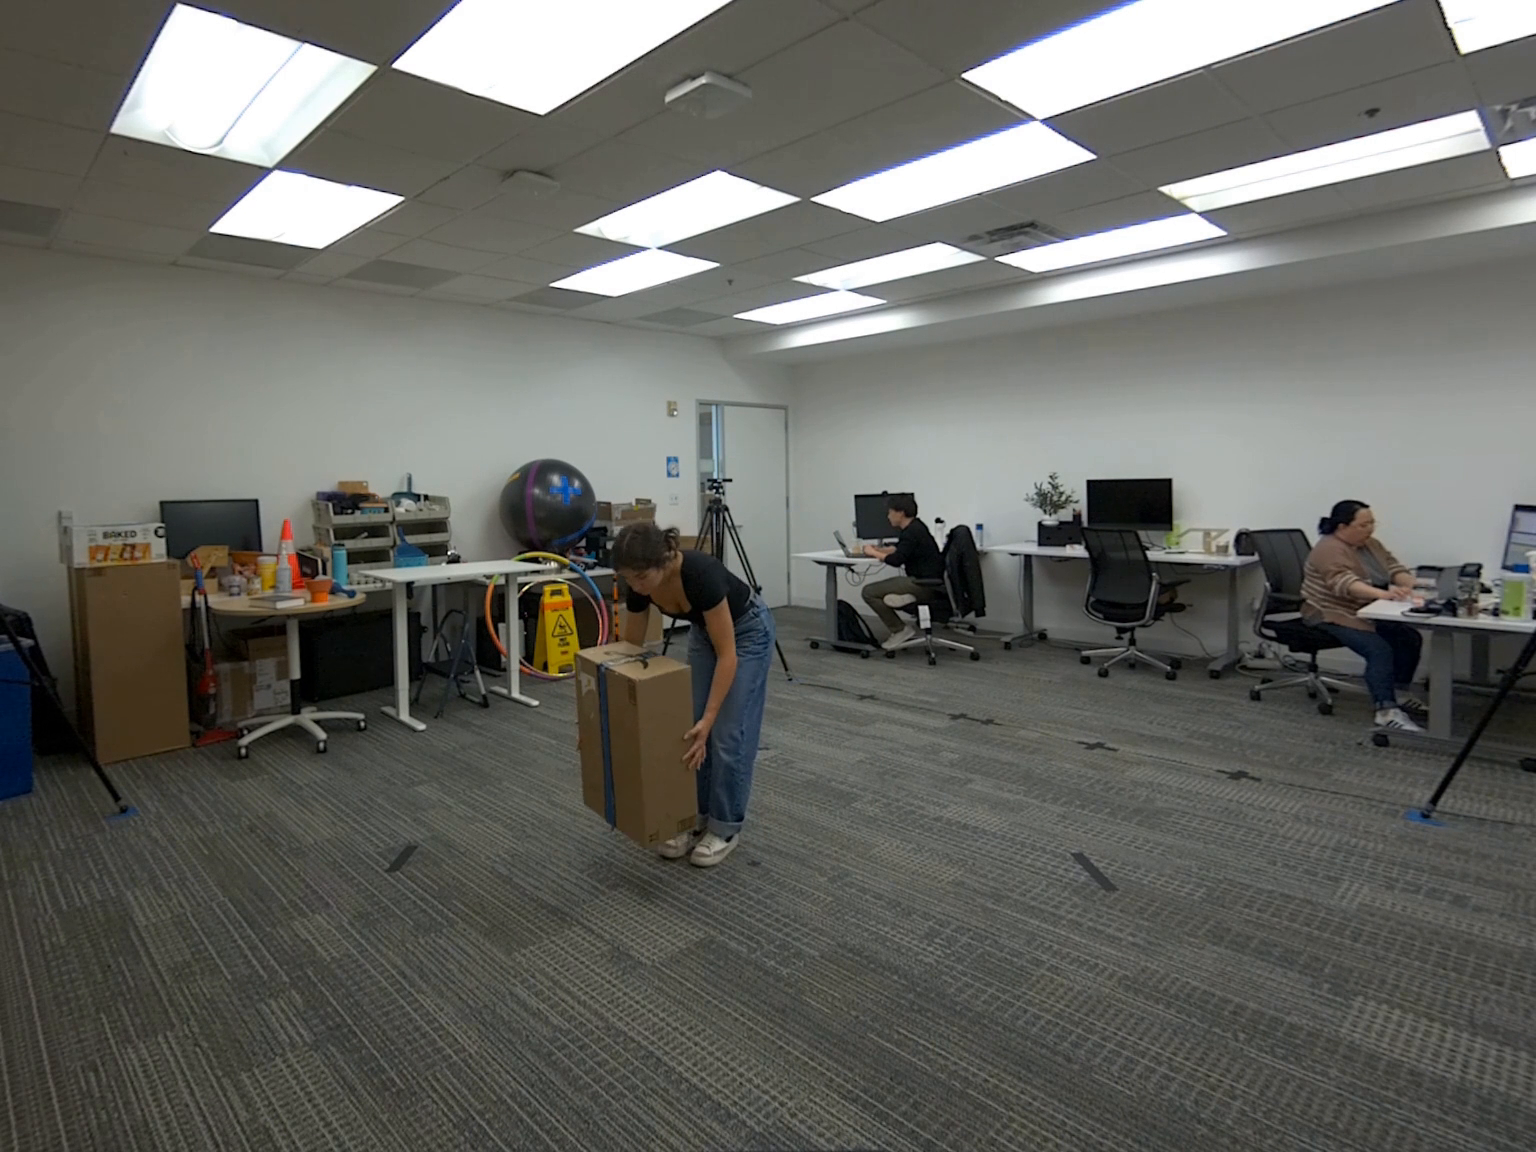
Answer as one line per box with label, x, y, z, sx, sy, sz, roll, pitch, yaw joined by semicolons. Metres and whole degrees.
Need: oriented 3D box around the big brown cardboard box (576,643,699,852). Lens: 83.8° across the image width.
big brown cardboard box;-0.456;0.555;2.920;0.228;0.584;0.431;-9;11;-38
